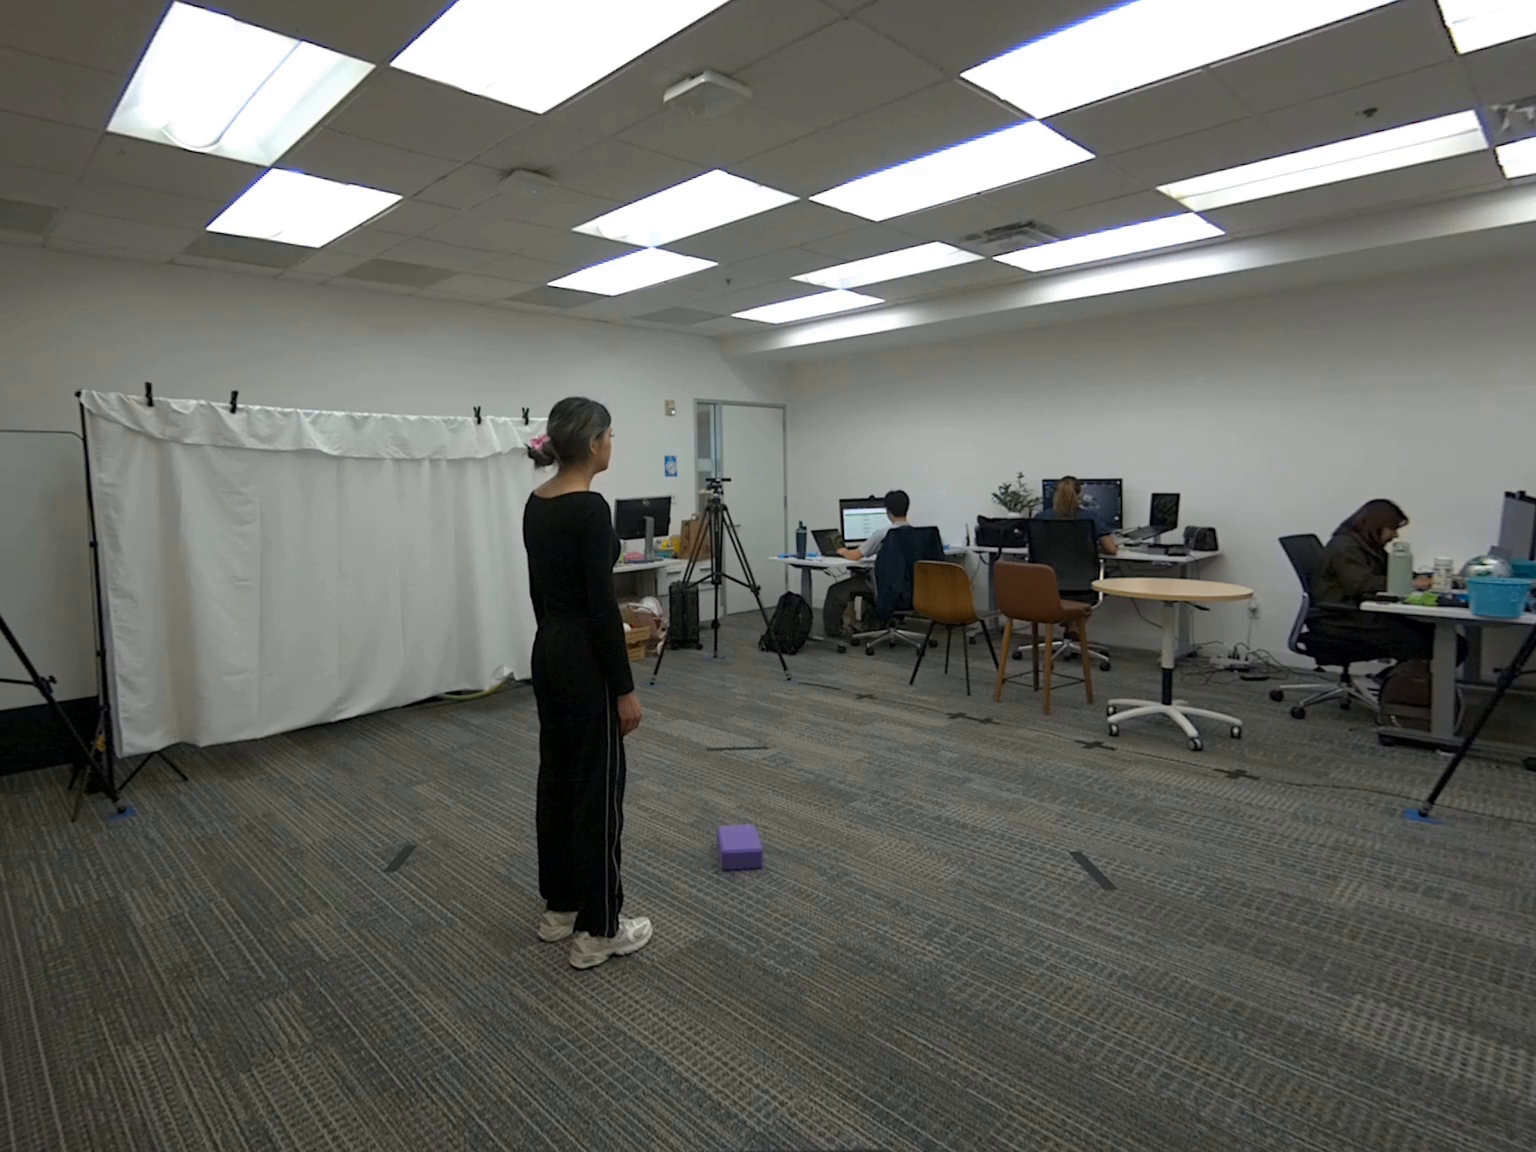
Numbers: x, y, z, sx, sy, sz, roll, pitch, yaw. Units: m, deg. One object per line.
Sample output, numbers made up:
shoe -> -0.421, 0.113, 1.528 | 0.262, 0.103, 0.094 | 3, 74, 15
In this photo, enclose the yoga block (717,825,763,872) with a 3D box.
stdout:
yoga block -> -0.104, 0.997, 3.154 | 0.148, 0.076, 0.232 | -1, 6, -7
